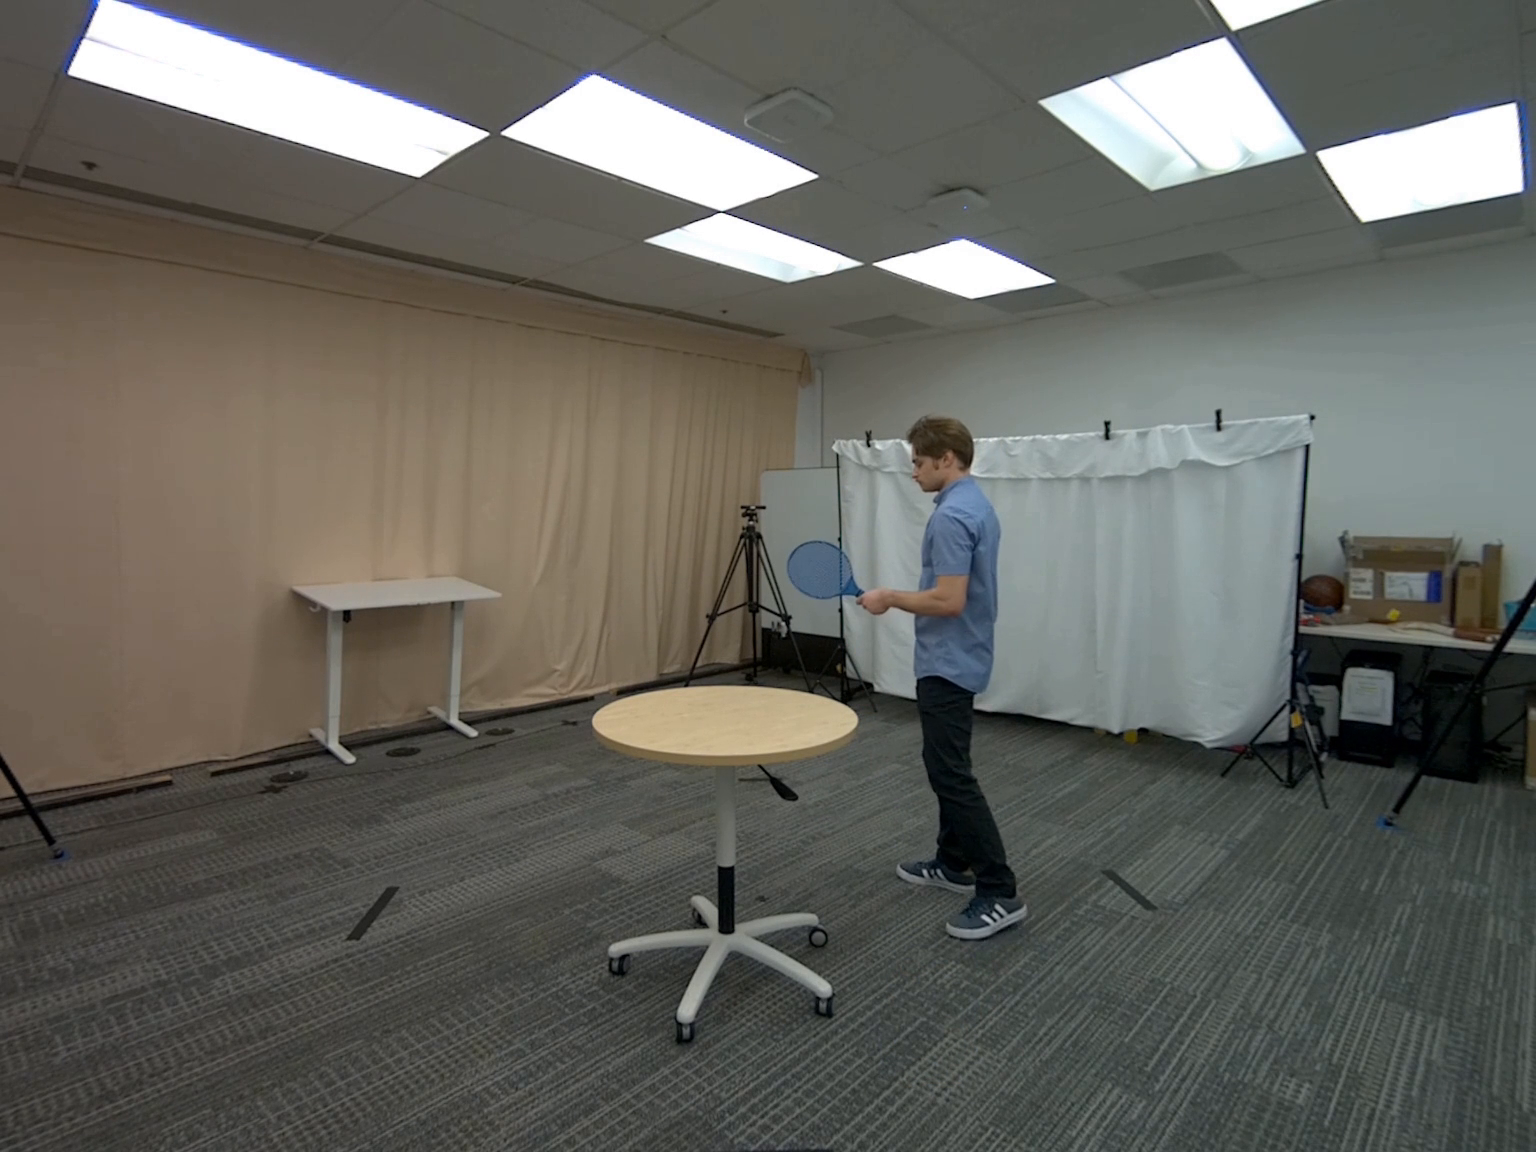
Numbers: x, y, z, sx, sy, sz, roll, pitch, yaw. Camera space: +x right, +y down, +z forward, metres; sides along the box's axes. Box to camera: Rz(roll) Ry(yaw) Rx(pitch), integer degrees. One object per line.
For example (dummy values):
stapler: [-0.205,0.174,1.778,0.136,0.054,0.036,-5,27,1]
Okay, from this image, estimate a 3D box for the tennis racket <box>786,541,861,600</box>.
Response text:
tennis racket: [0.269,0.019,3.060,0.447,0.214,0.031,36,0,30]
